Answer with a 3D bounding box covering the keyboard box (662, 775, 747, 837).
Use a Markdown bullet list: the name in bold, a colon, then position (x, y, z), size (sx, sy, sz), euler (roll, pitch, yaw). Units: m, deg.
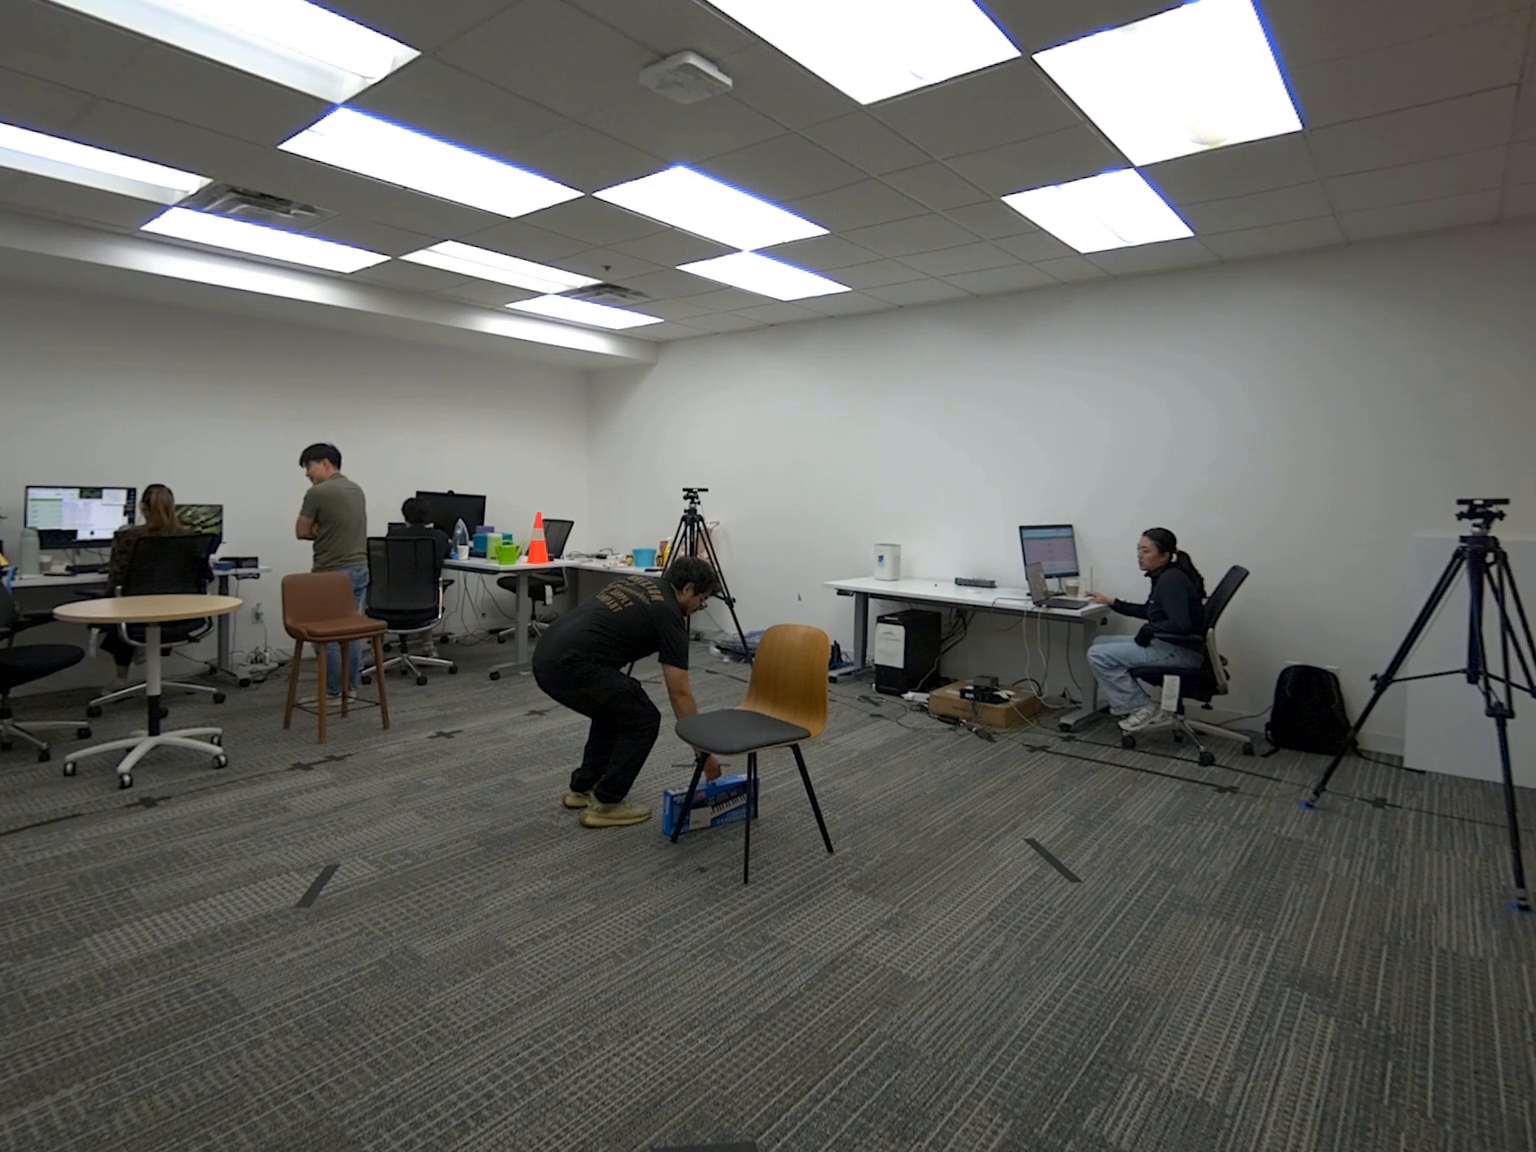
- **keyboard box**: position (-0.244, 0.945, 3.529), size (0.424, 0.175, 0.061), euler (-3, 8, -34)
